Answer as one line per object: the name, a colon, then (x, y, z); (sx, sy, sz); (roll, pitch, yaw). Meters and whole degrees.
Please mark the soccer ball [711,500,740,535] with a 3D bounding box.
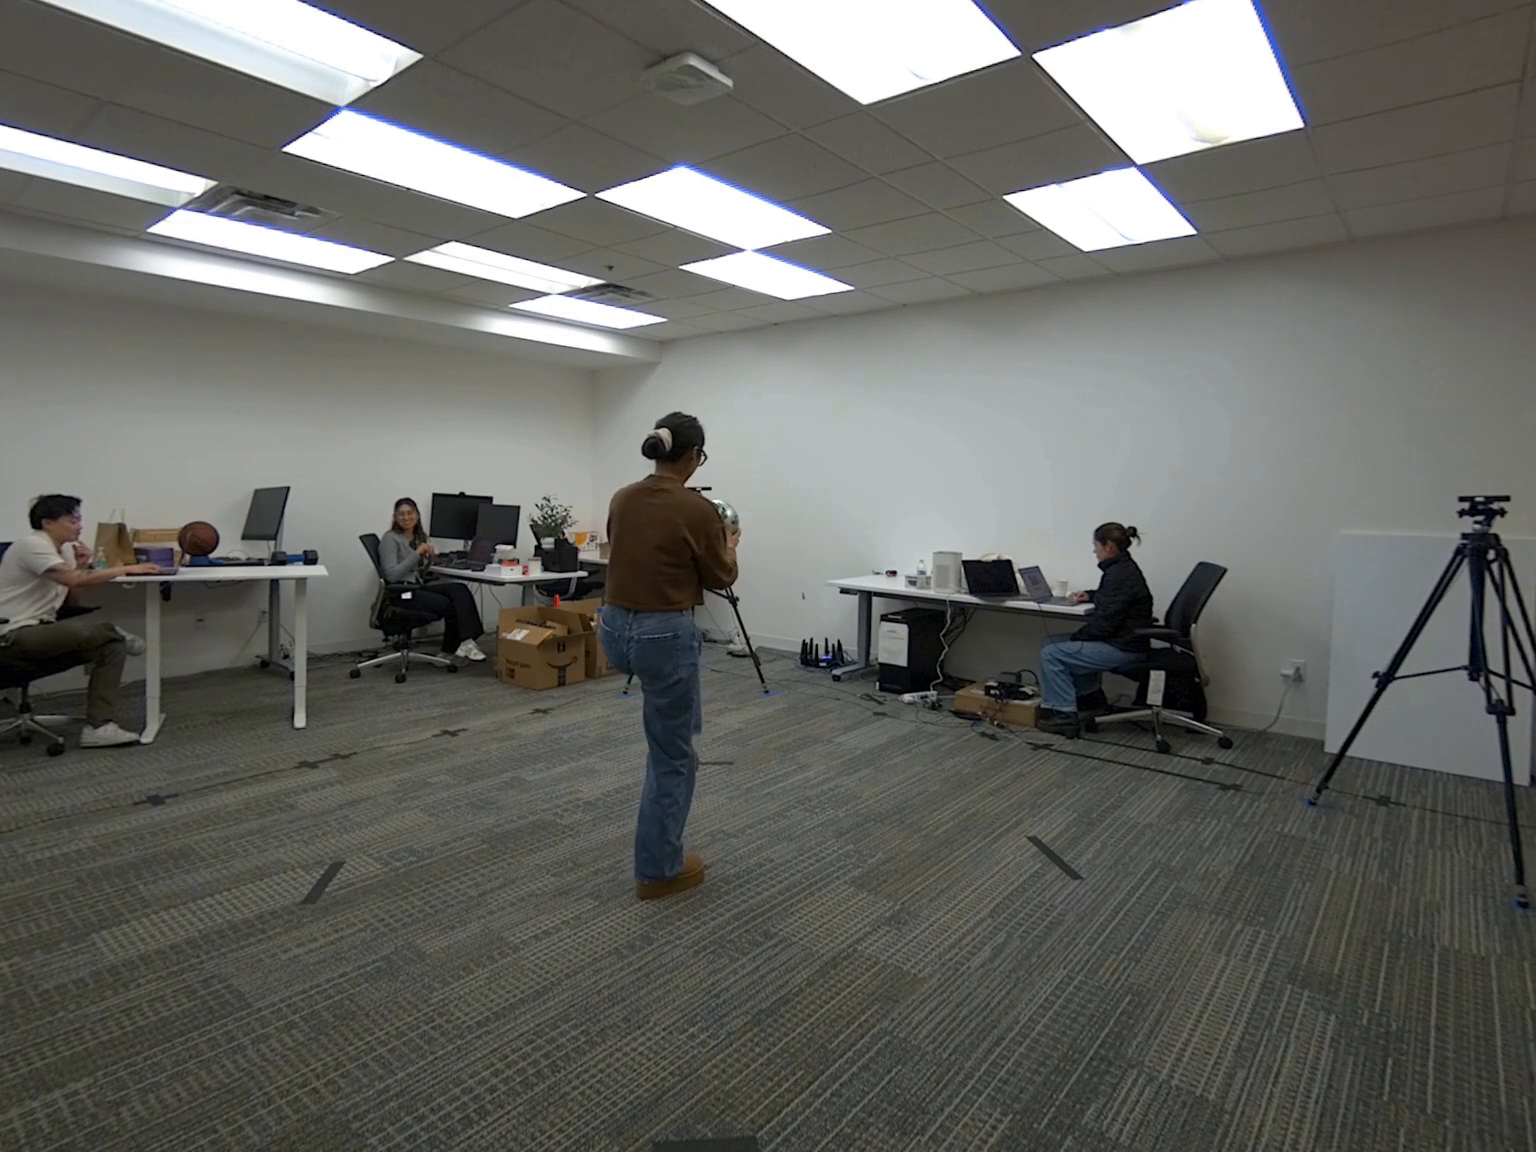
soccer ball: (-0.218, -0.200, 3.303); (0.187, 0.187, 0.188); (1, 4, -2)
